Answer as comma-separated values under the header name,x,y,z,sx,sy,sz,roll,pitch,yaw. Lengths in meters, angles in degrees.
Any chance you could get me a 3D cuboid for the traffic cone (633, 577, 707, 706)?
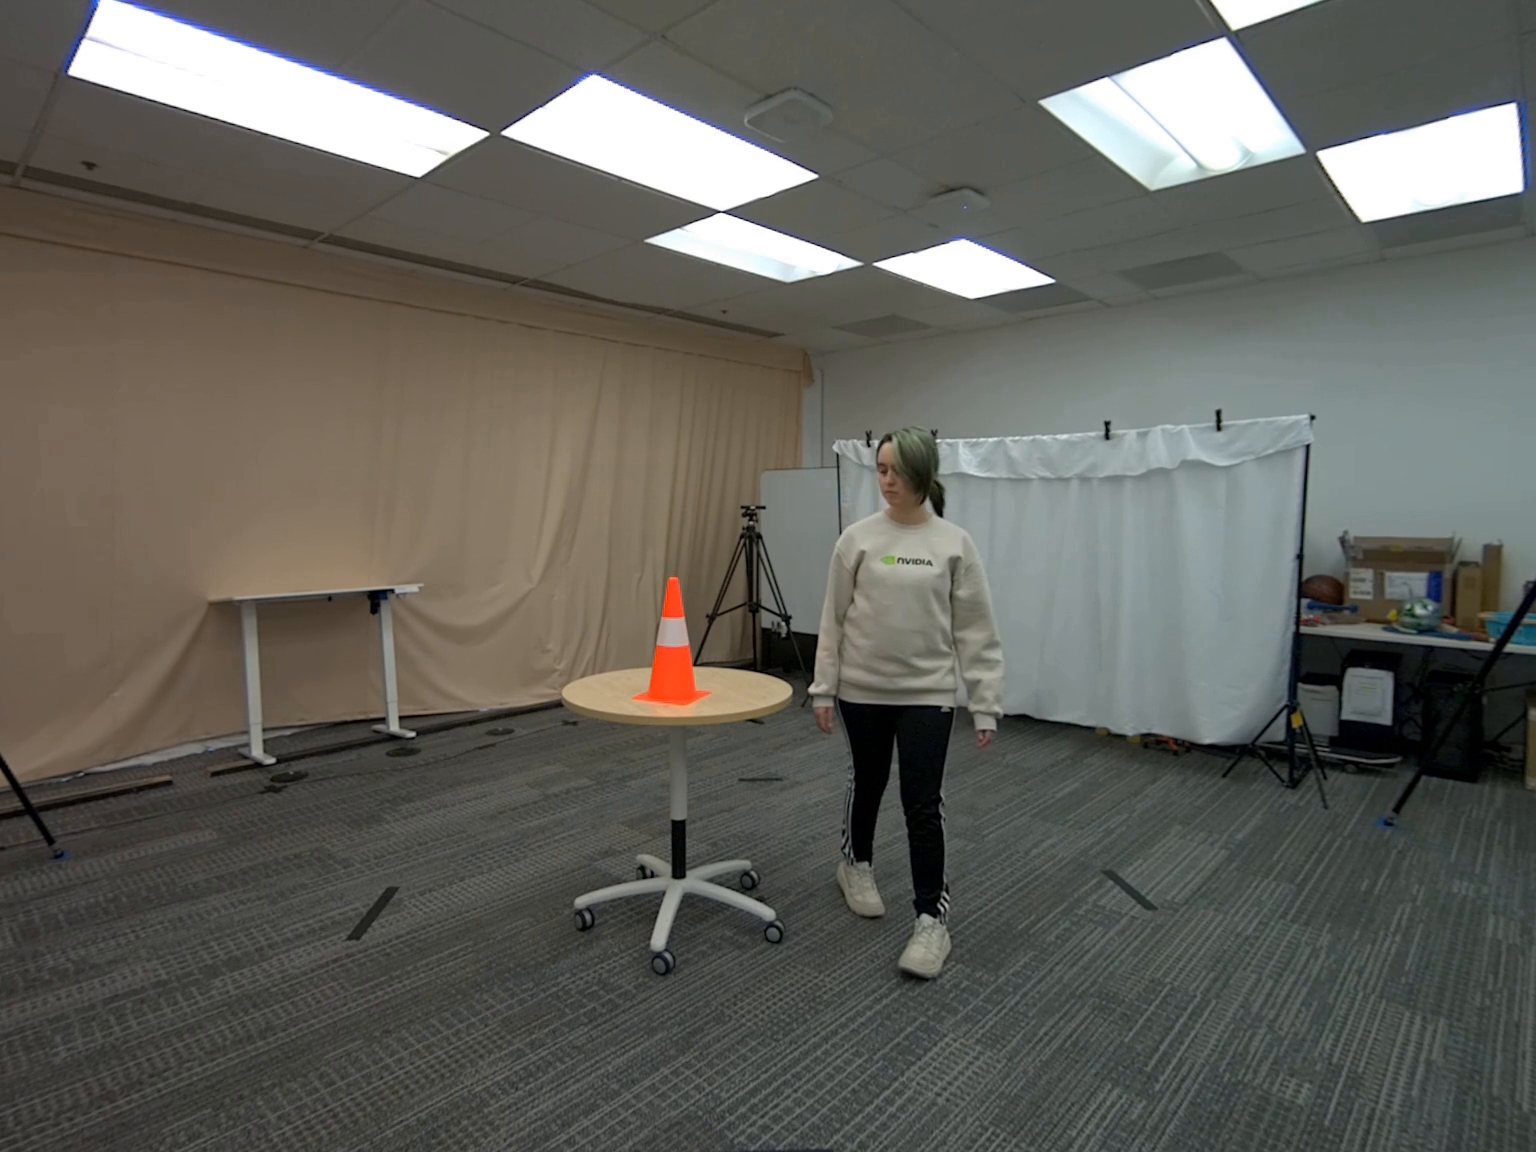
name,x,y,z,sx,sy,sz,roll,pitch,yaw
traffic cone,-0.305,0.200,2.703,0.211,0.383,0.198,1,3,28
